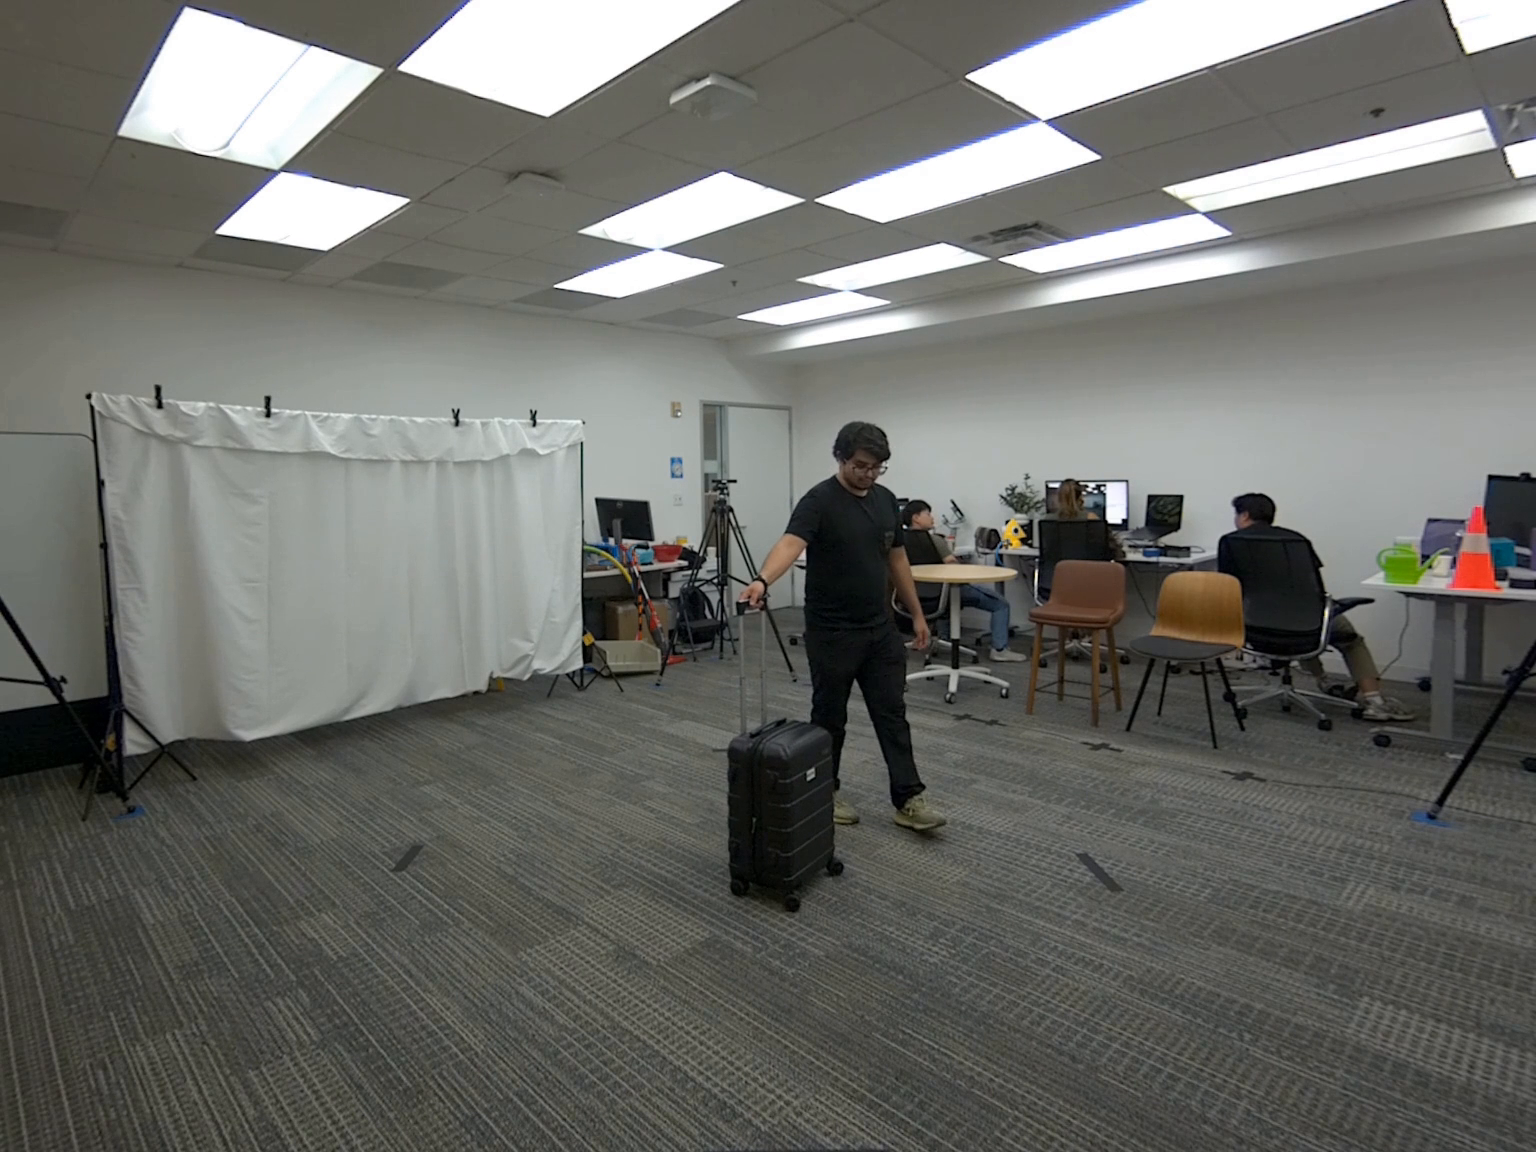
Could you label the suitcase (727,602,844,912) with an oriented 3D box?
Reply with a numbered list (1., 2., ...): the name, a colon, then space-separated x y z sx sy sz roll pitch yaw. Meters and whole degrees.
1. suitcase: 0.046 0.588 2.928 0.264 0.975 0.375 2 5 33
